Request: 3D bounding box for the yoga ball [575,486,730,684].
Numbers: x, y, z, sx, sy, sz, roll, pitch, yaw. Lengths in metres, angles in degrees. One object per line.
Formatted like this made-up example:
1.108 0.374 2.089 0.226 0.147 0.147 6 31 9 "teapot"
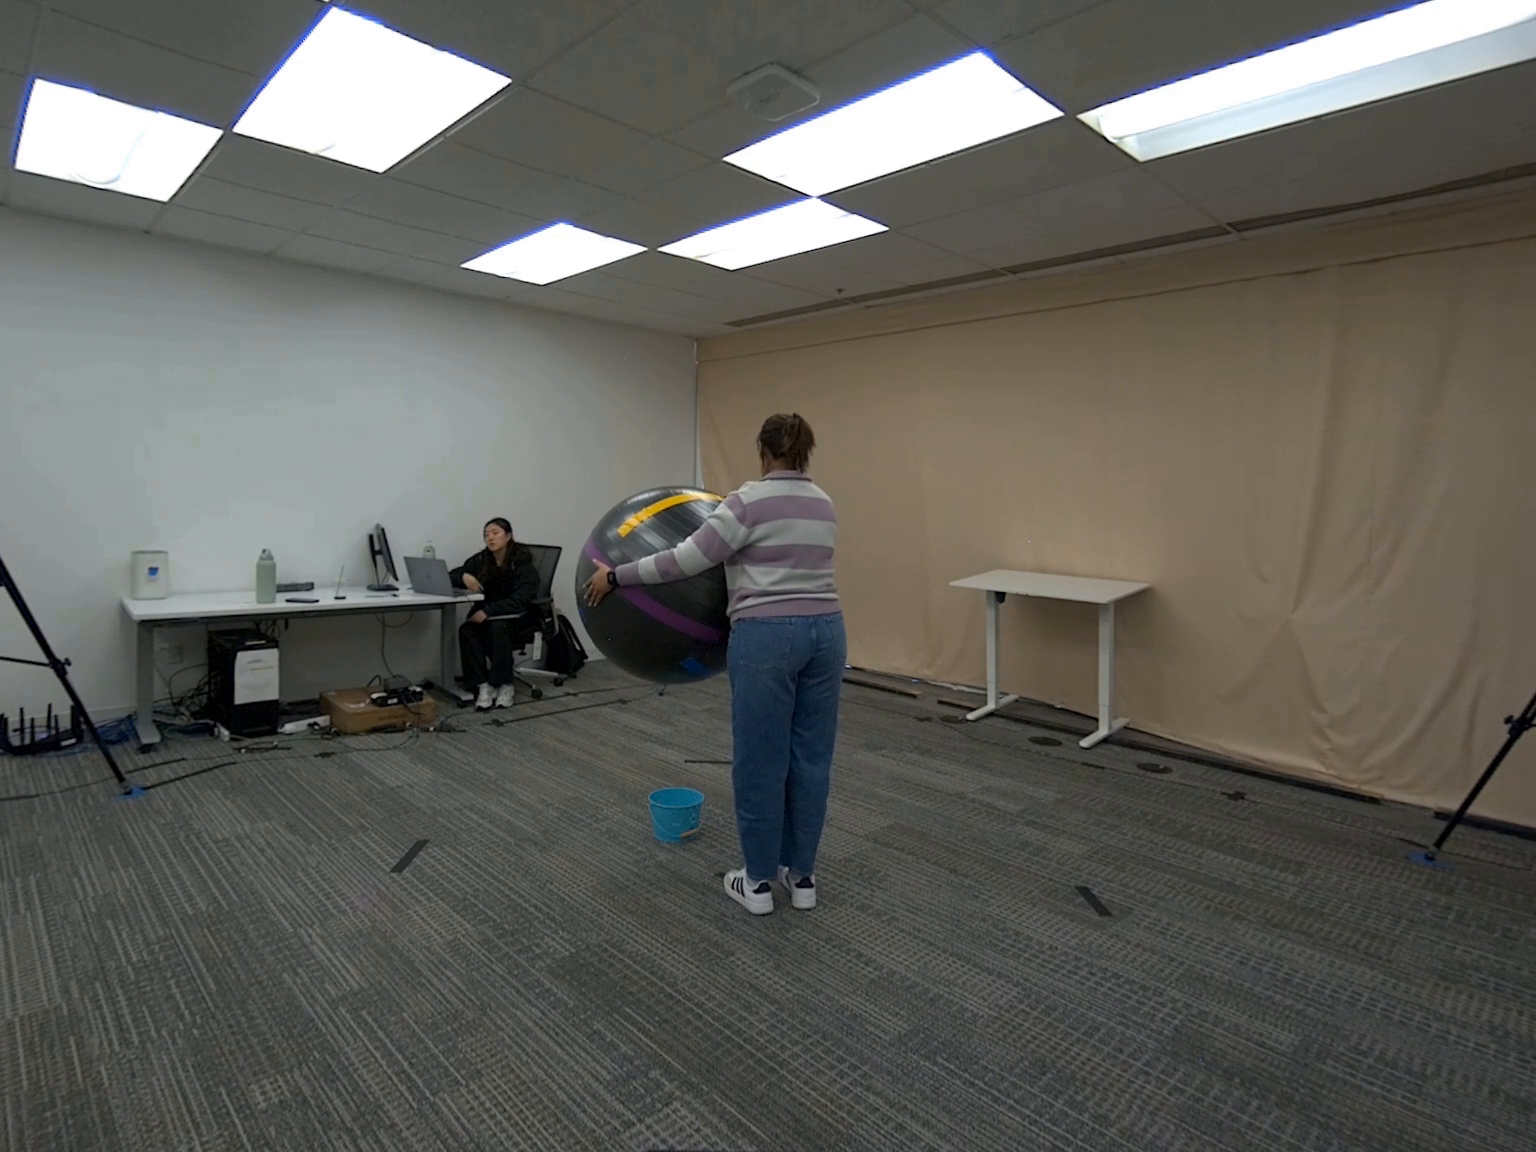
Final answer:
-0.367 0.033 3.248 0.757 0.756 0.761 1 4 -1 "yoga ball"
